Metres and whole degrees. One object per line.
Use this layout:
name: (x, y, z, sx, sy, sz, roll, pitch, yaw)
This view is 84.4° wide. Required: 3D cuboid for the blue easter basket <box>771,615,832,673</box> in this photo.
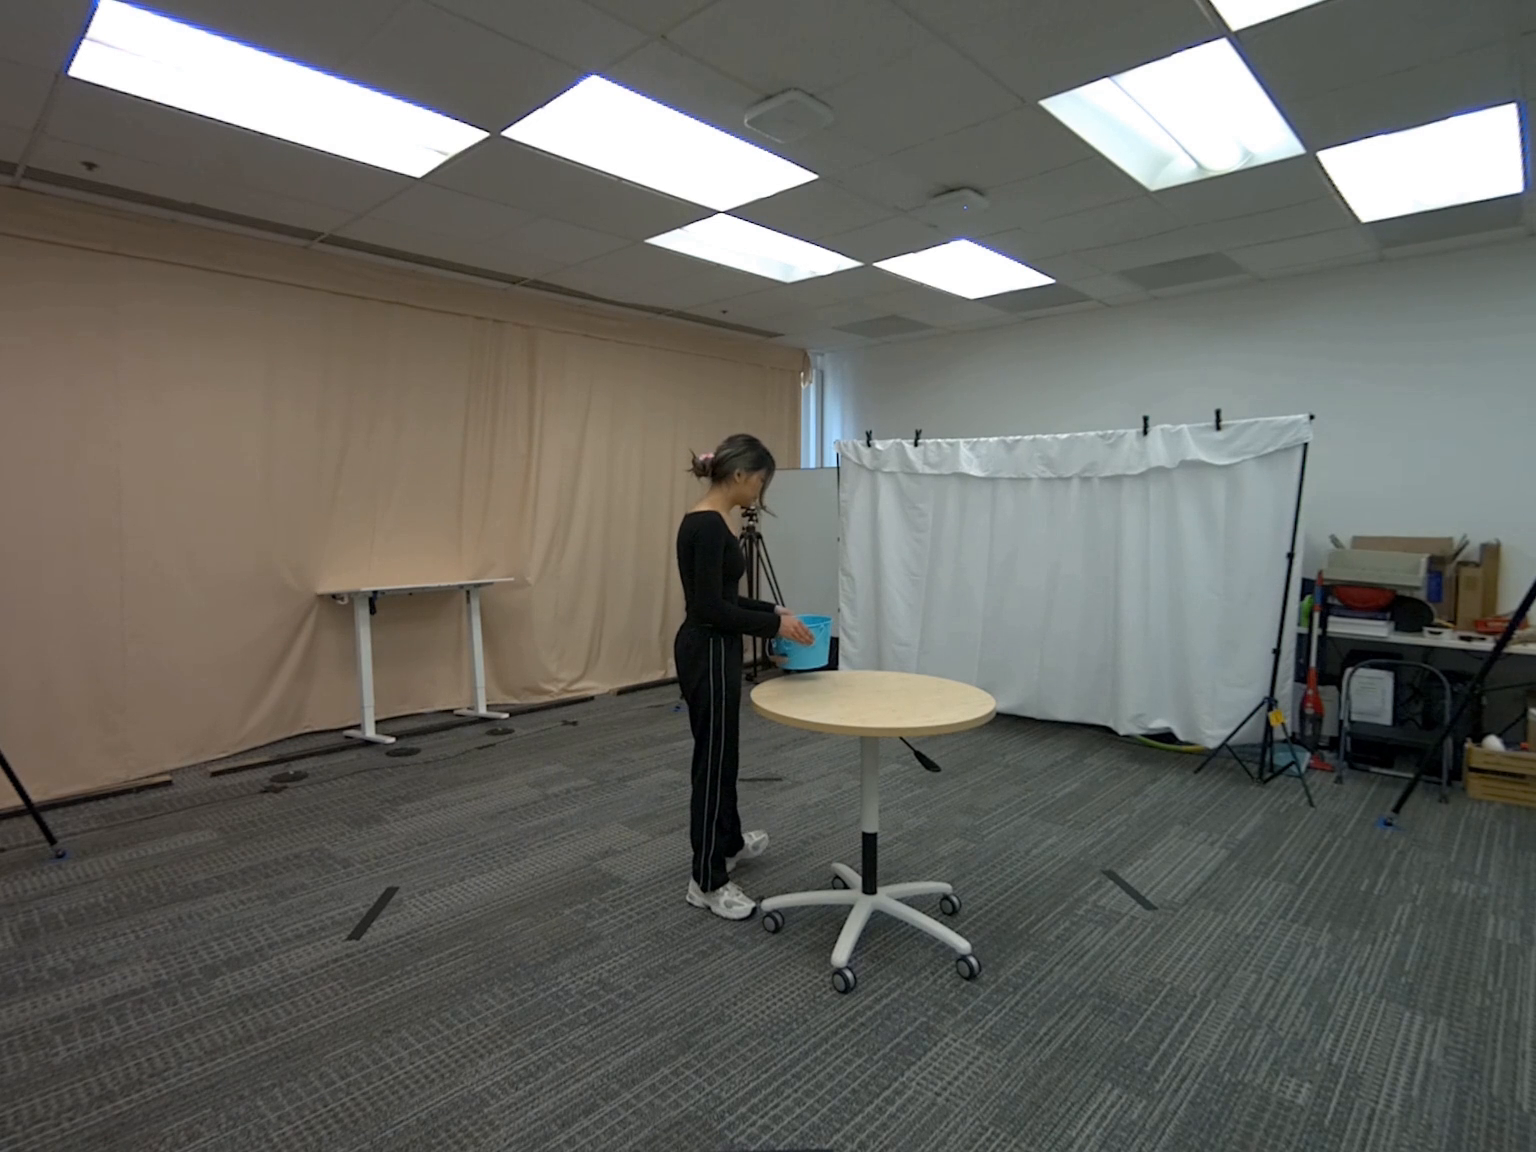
blue easter basket: (0.107, 0.241, 2.948, 0.243, 0.155, 0.245, -4, 5, -2)
